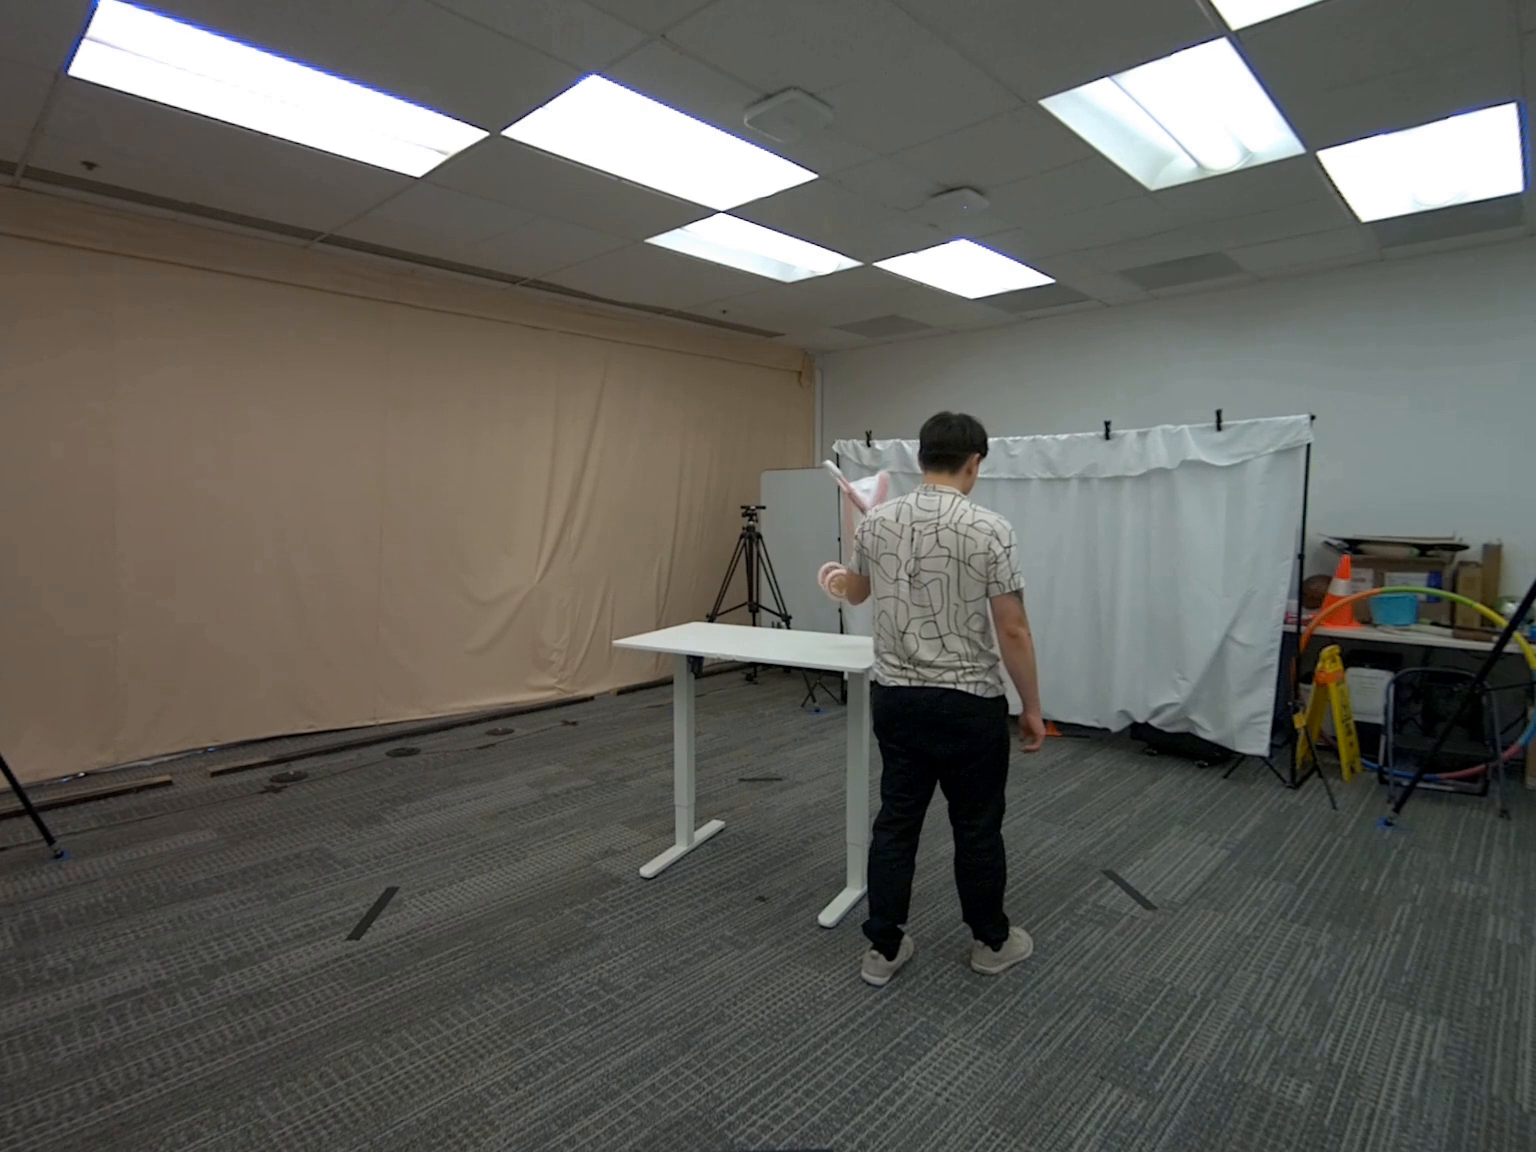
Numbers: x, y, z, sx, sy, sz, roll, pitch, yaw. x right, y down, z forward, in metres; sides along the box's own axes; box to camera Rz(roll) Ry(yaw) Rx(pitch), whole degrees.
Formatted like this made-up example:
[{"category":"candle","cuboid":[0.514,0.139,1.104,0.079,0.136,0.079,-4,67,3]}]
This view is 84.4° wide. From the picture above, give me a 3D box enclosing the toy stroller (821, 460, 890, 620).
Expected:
[{"category":"toy stroller","cuboid":[0.370,-0.133,2.953,0.343,0.533,0.281,1,4,4]}]
